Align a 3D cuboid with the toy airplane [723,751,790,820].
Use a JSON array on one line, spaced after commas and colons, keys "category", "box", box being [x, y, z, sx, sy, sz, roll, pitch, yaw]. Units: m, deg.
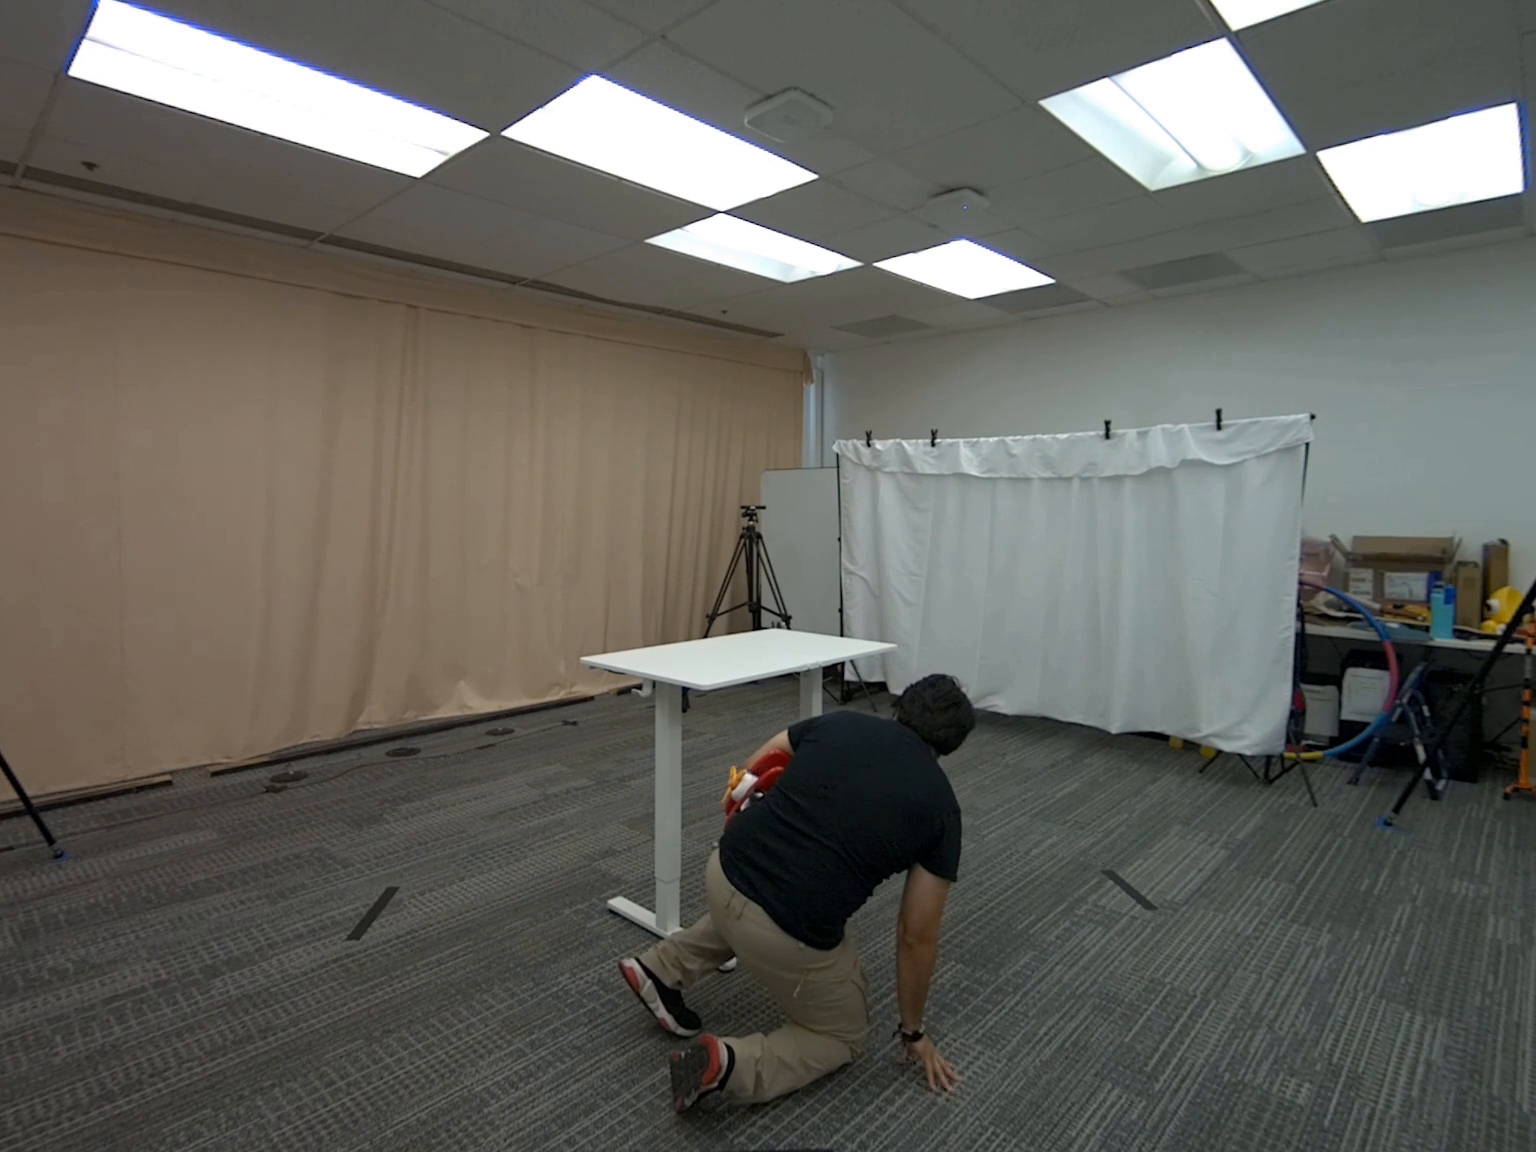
[{"category": "toy airplane", "box": [0.002, 0.617, 2.239, 0.252, 0.251, 0.160, -31, 33, 6]}]
